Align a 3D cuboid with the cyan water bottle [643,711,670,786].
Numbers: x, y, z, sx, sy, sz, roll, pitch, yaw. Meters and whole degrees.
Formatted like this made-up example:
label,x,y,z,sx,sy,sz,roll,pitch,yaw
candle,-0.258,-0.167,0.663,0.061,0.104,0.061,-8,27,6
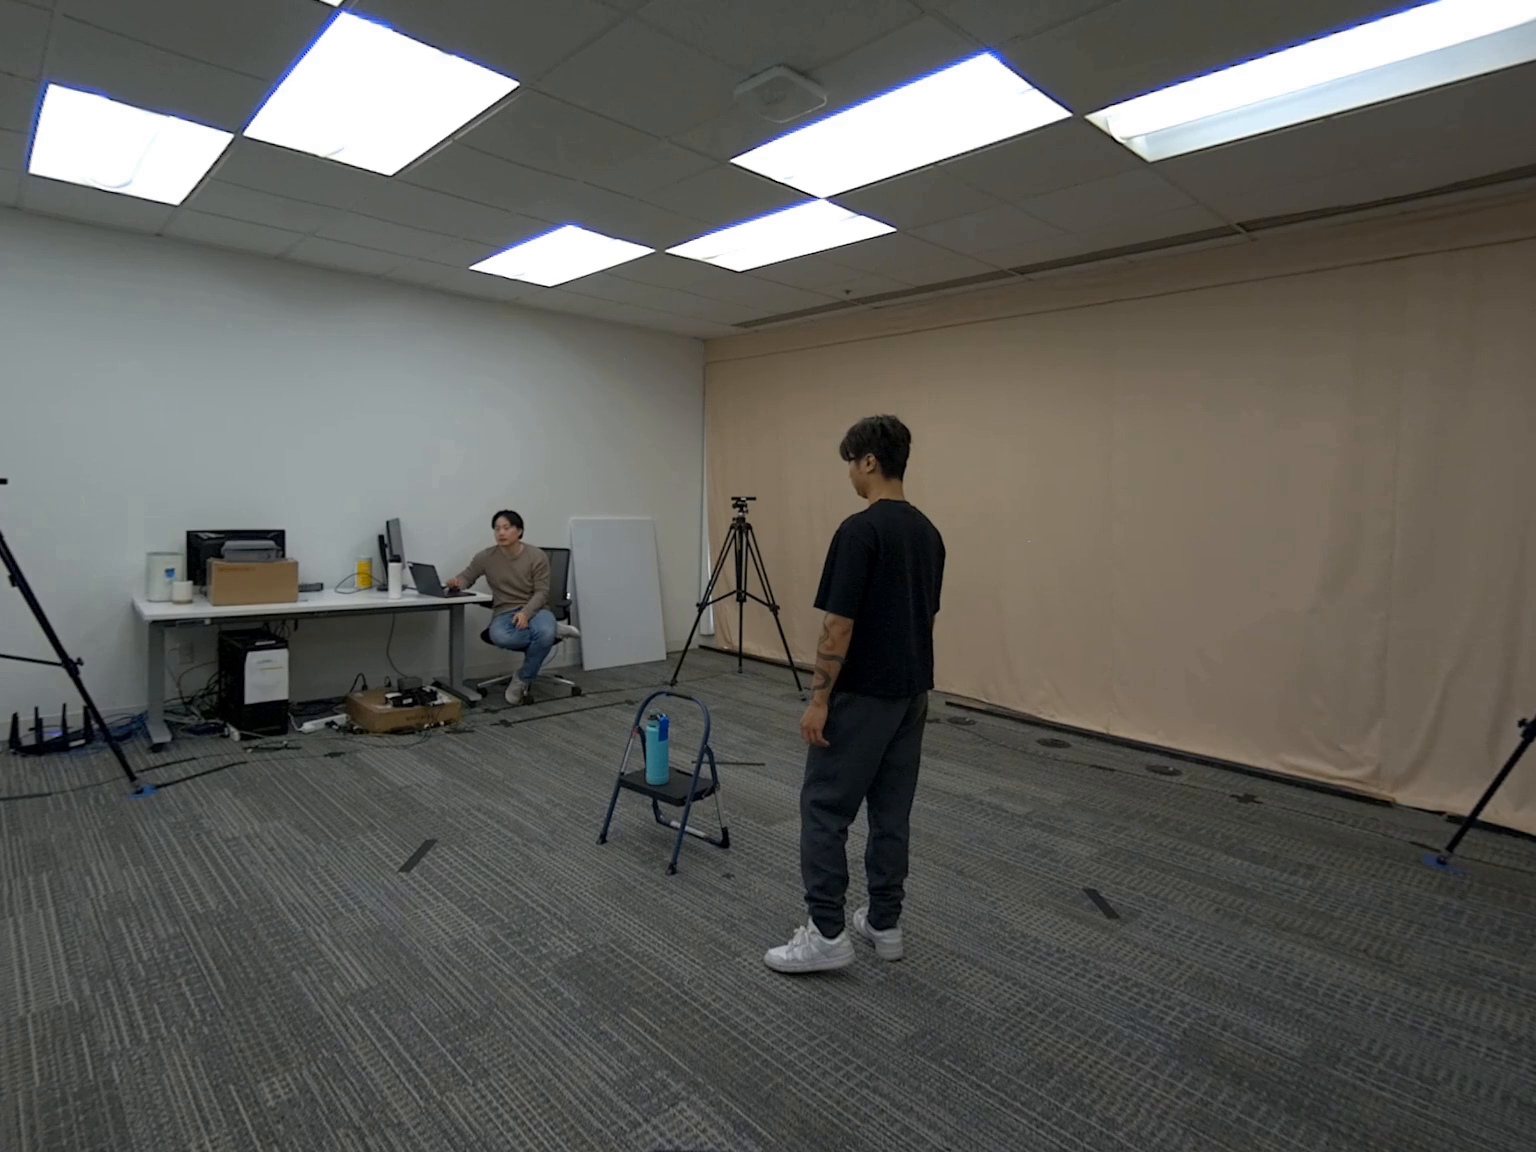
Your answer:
label,x,y,z,sx,sy,sz,roll,pitch,yaw
cyan water bottle,-0.445,0.678,3.337,0.092,0.282,0.092,1,4,-1
